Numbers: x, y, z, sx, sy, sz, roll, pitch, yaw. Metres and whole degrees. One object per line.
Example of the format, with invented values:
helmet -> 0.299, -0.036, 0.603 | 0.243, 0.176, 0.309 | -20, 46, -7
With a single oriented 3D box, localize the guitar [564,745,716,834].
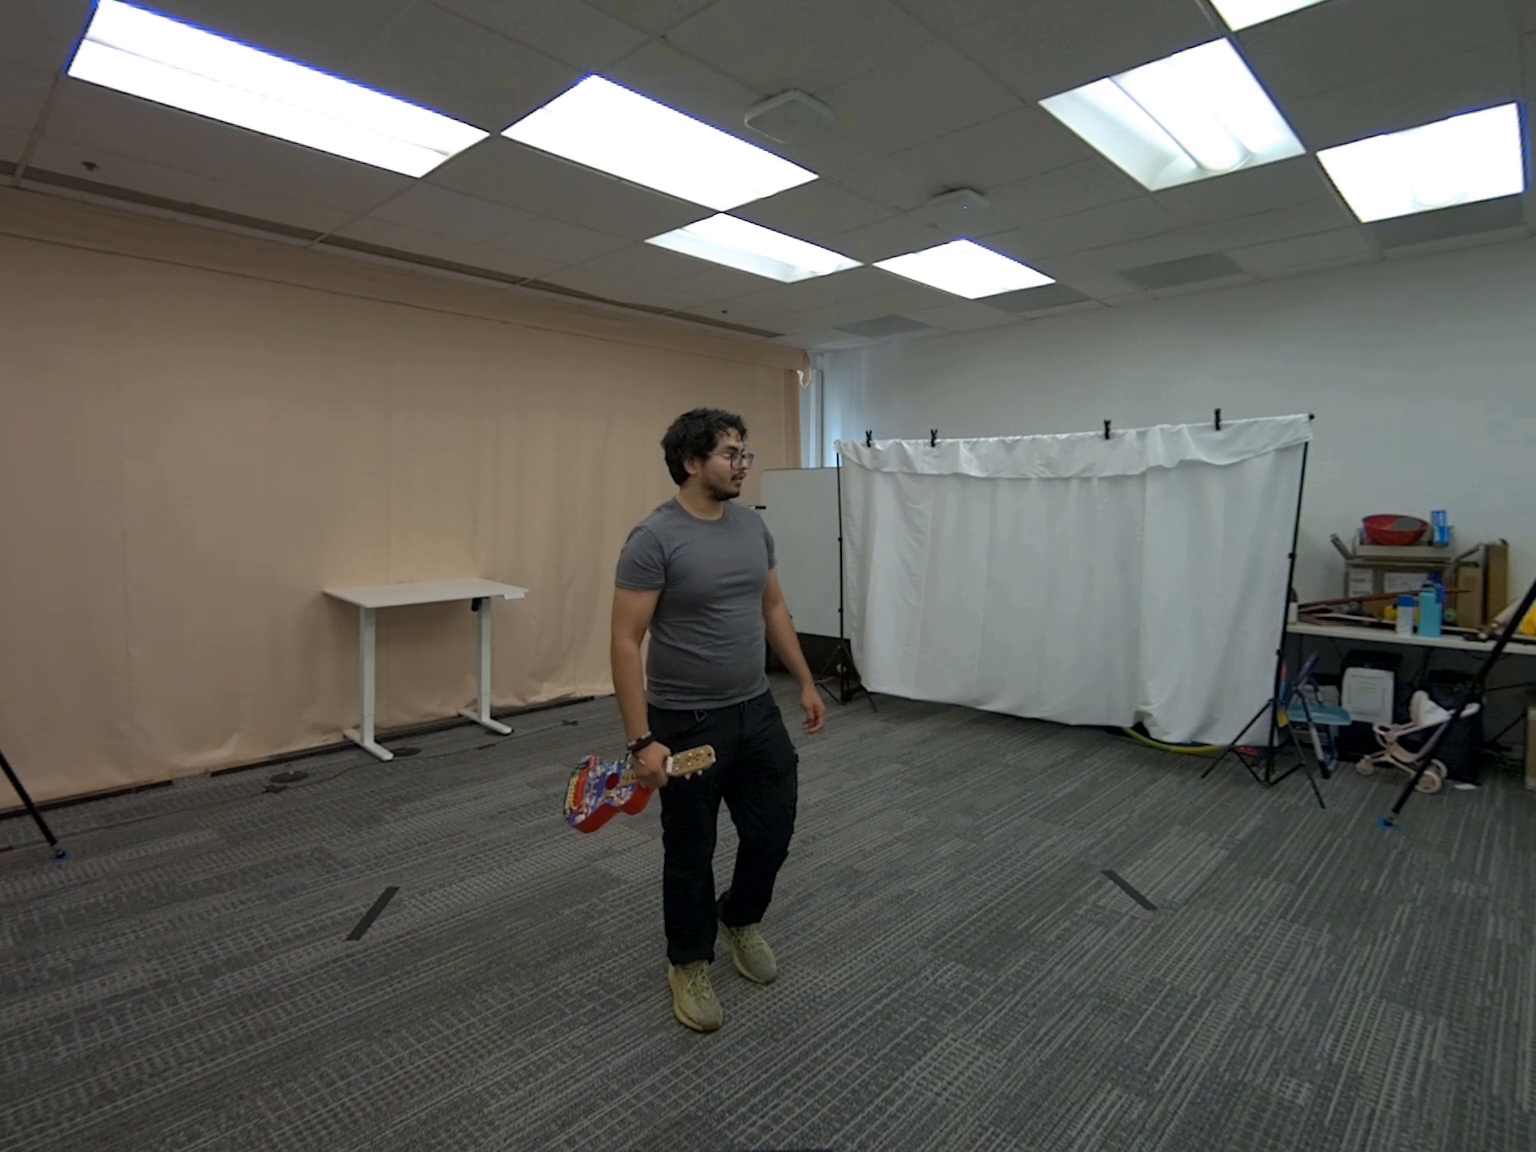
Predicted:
guitar -> -0.318, 0.540, 2.122 | 0.510, 0.195, 0.068 | -14, -41, 35
